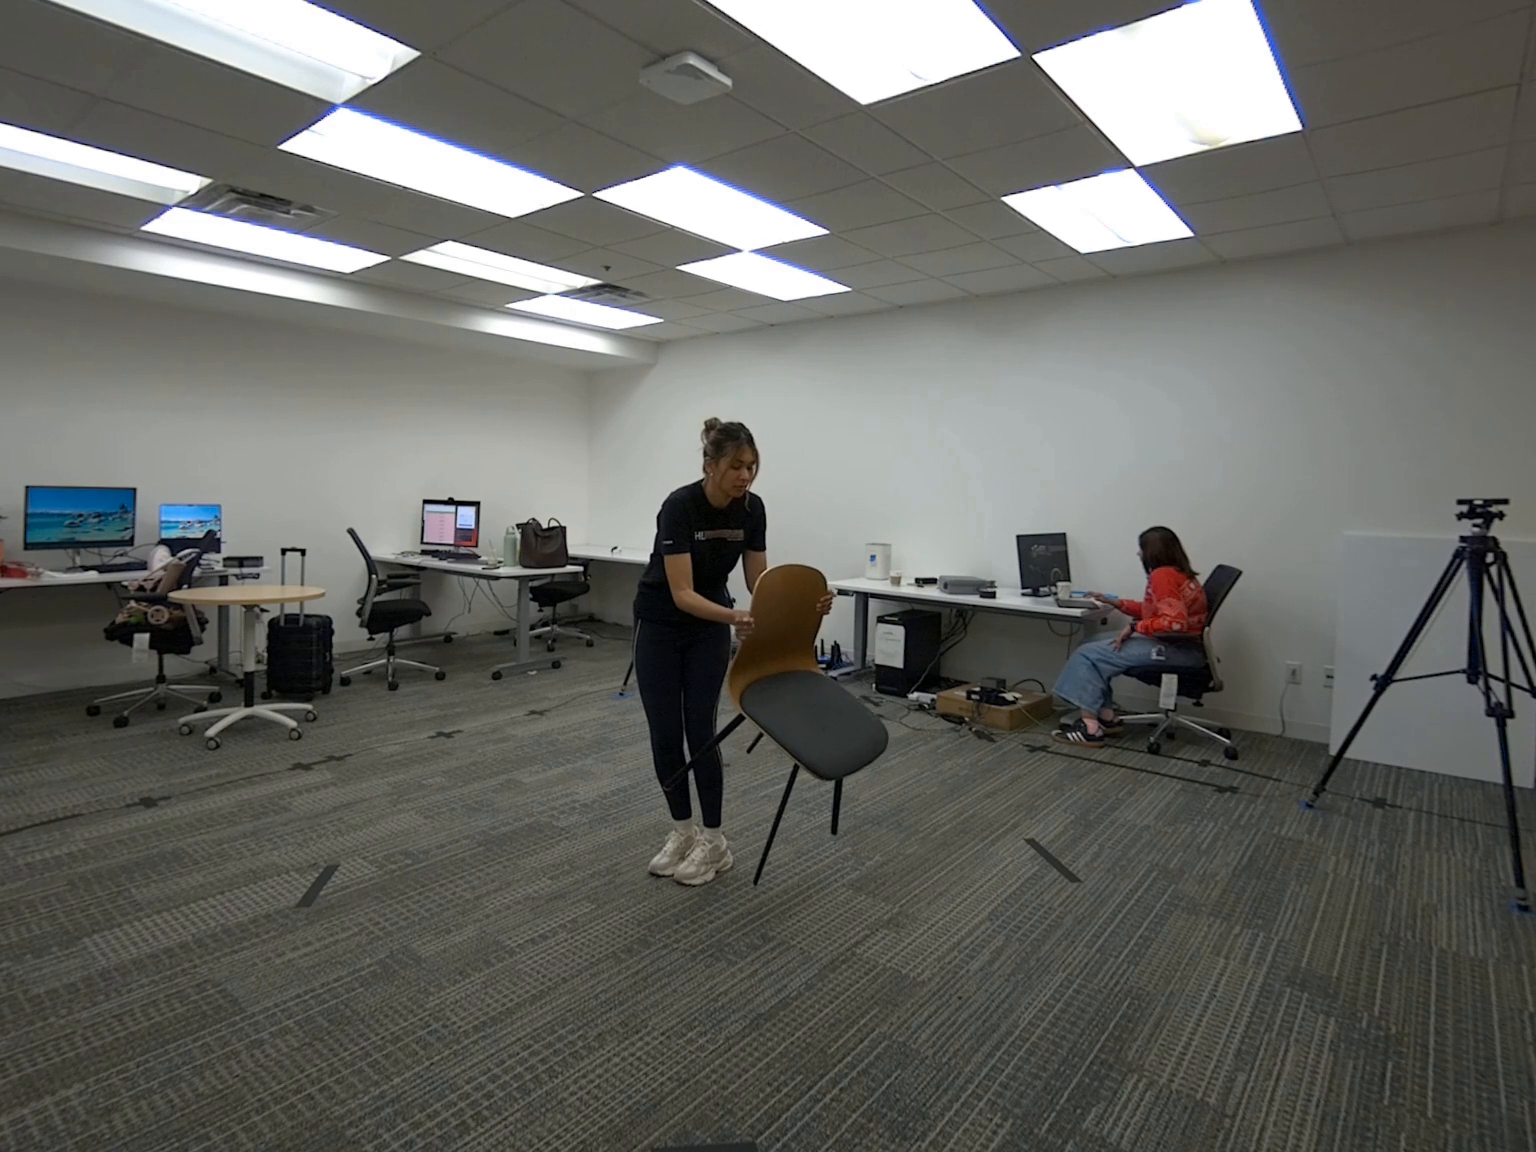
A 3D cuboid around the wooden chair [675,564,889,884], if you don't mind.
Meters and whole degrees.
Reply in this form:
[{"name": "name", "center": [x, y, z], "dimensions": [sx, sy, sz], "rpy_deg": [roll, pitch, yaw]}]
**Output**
[{"name": "wooden chair", "center": [0.097, 0.464, 2.764], "dimensions": [0.544, 0.867, 0.465], "rpy_deg": [34, 25, 33]}]
